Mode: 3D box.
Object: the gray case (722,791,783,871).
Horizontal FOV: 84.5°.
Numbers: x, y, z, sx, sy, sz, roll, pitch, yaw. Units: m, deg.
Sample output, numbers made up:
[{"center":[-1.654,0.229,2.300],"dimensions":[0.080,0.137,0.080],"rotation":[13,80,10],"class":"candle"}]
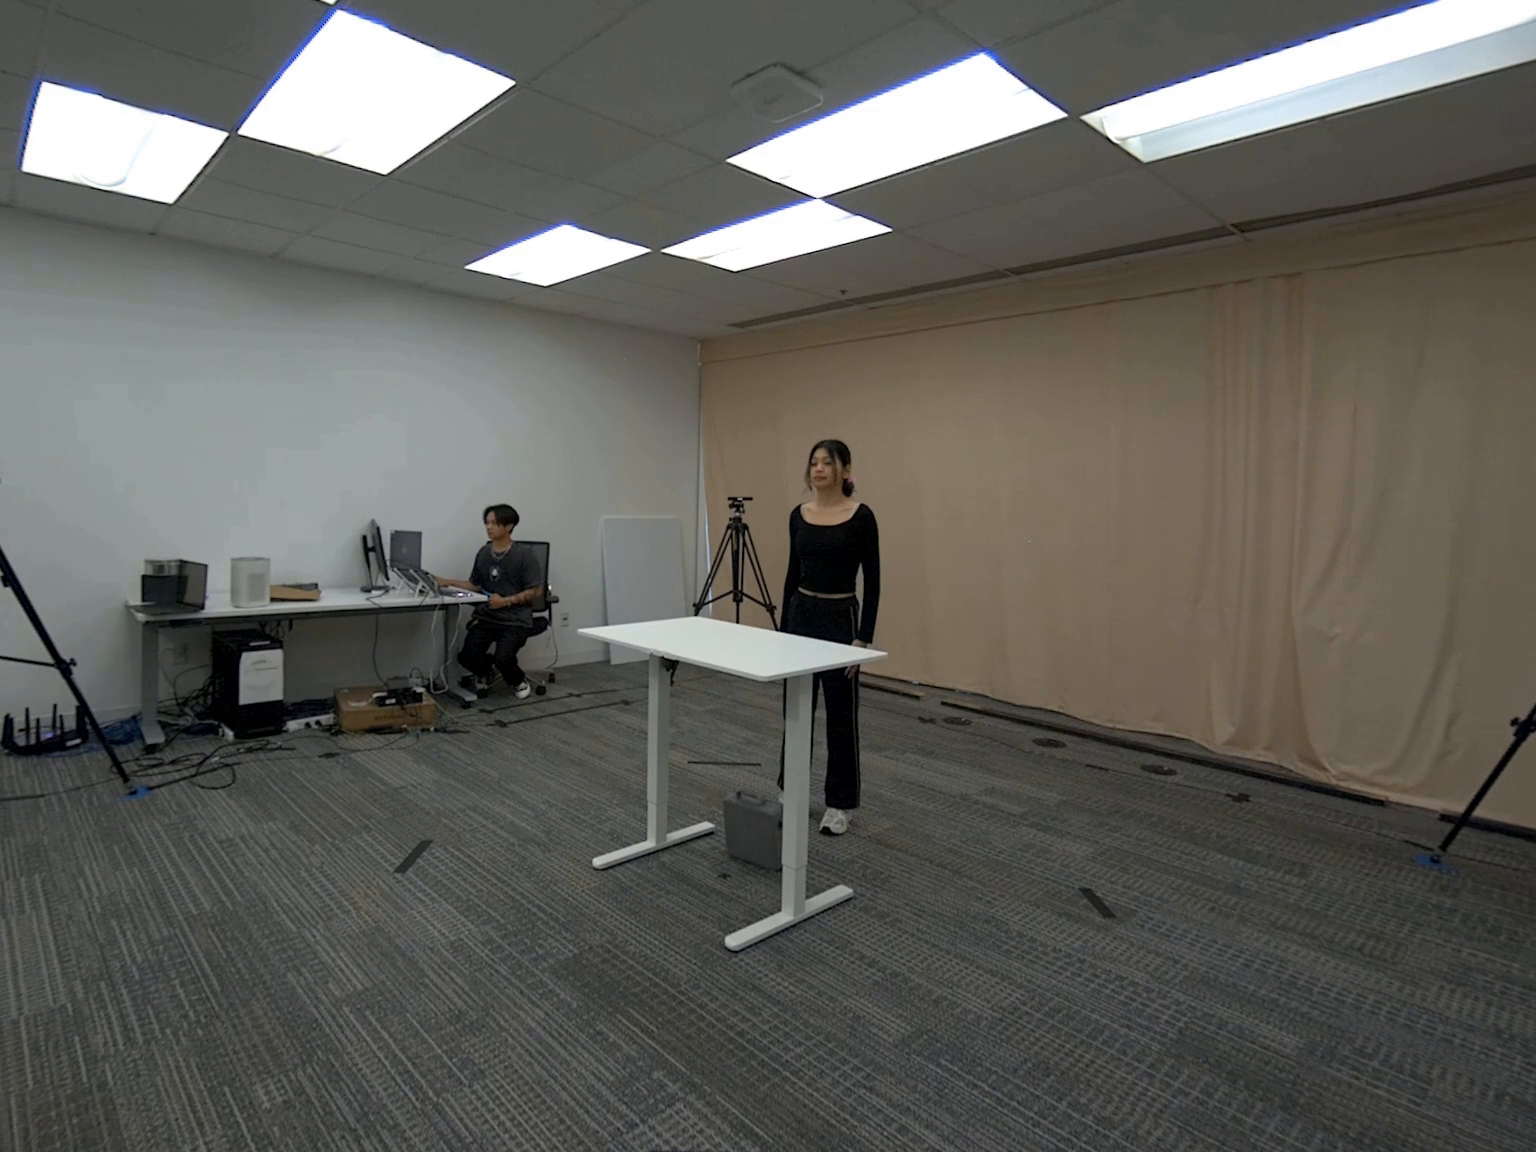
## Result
[{"center":[-0.054,0.965,3.222],"dimensions":[0.263,0.258,0.103],"rotation":[4,15,37],"class":"gray case"}]
